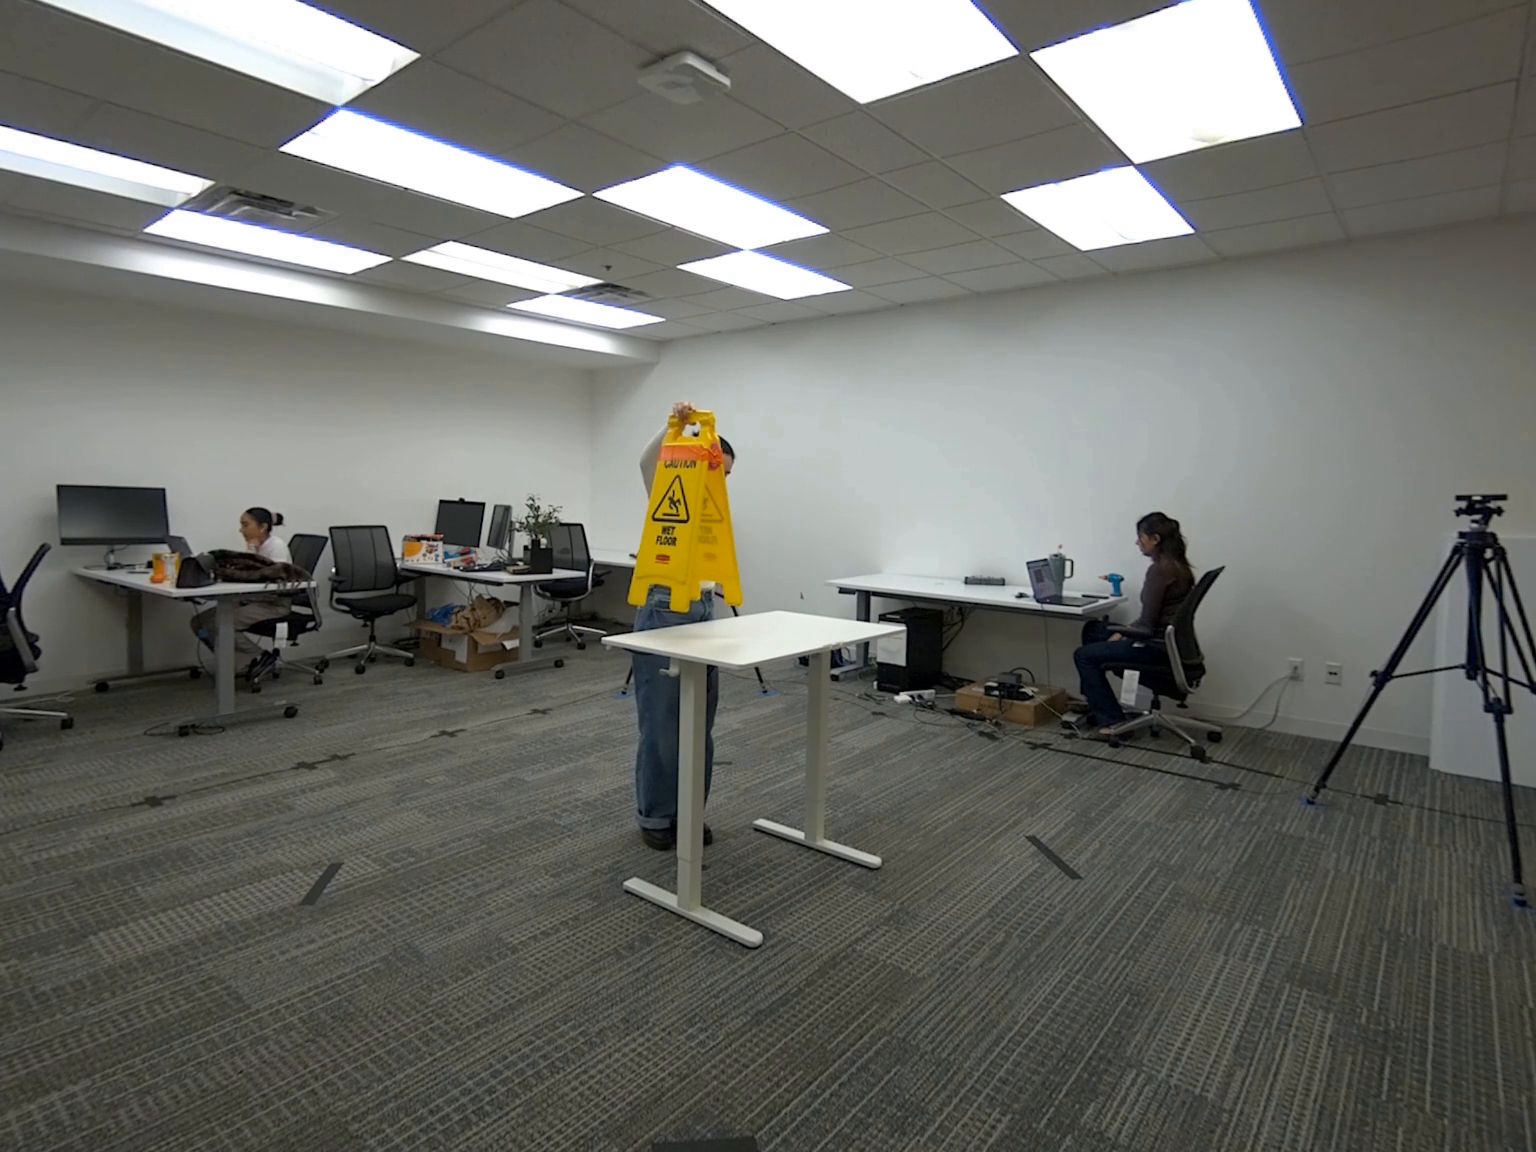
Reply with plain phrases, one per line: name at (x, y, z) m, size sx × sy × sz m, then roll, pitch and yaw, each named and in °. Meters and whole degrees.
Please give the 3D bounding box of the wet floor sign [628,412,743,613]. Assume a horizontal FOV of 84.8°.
wet floor sign at (-0.276, -0.227, 2.846) m, size 0.292 × 0.645 × 0.281 m, roll 3°, pitch 3°, yaw 41°
